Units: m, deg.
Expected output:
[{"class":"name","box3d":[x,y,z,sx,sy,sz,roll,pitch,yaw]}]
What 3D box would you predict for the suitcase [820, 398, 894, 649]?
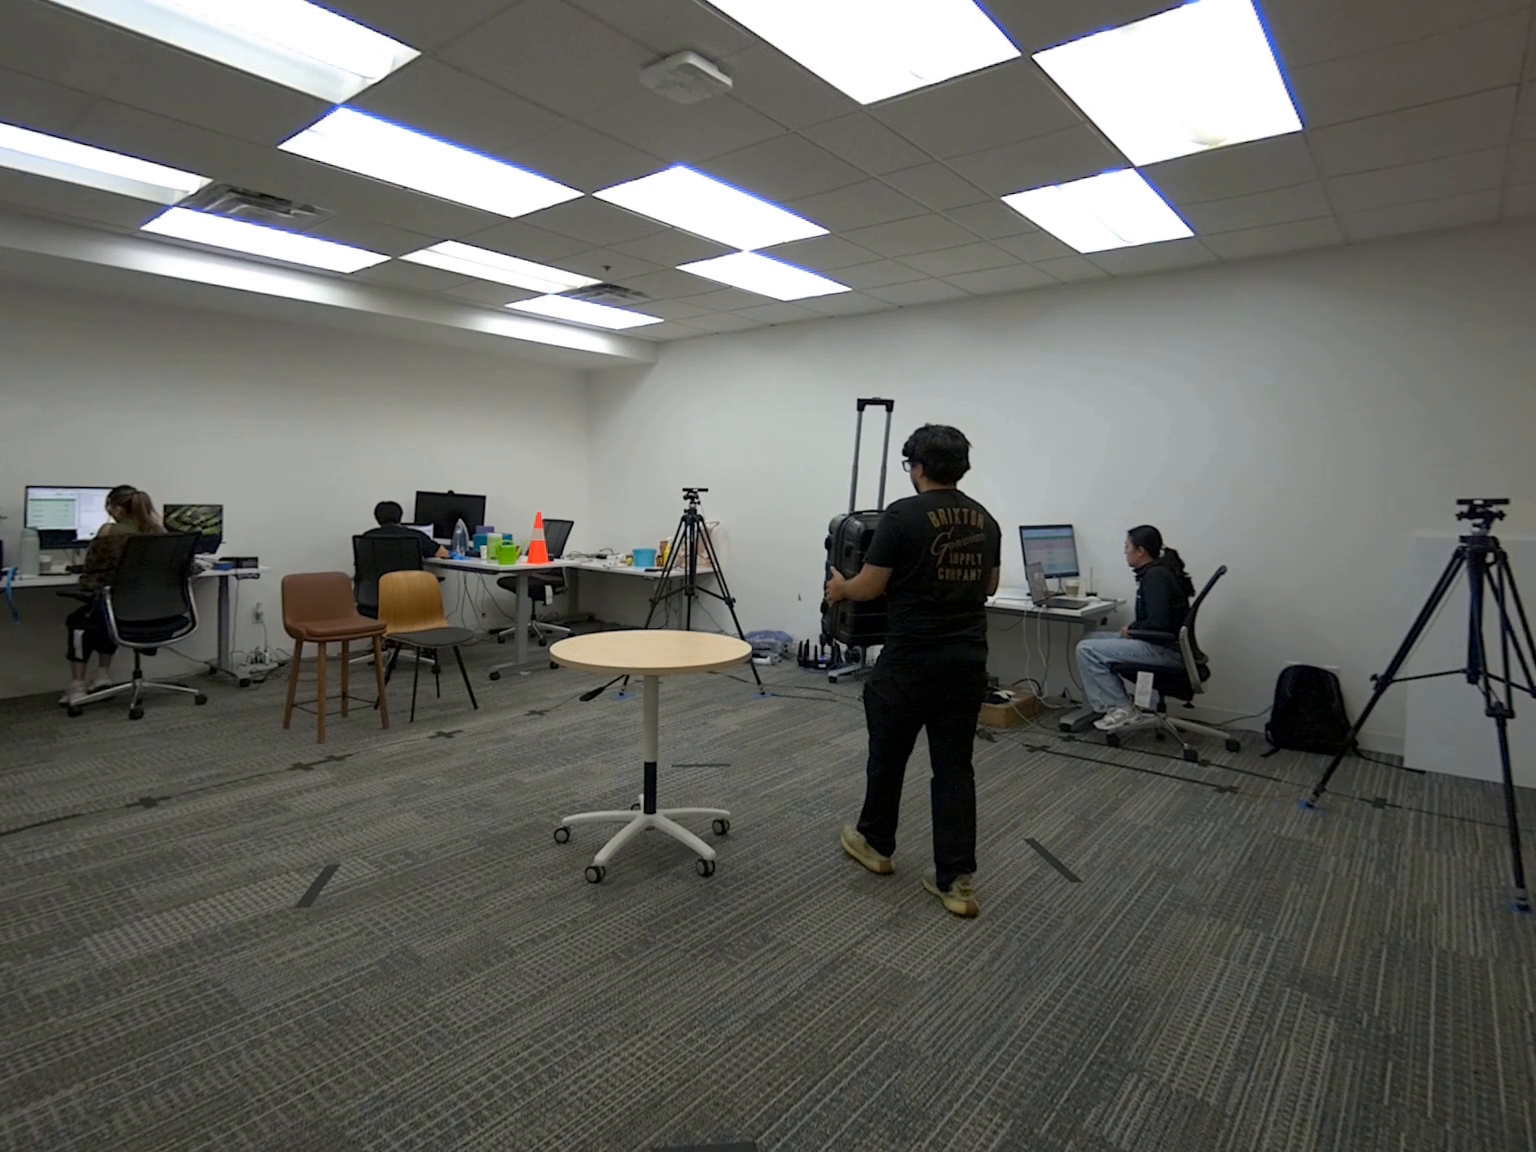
[{"class":"suitcase","box3d":[0.416,-0.182,3.285,0.377,0.968,0.264,-2,12,-19]}]
